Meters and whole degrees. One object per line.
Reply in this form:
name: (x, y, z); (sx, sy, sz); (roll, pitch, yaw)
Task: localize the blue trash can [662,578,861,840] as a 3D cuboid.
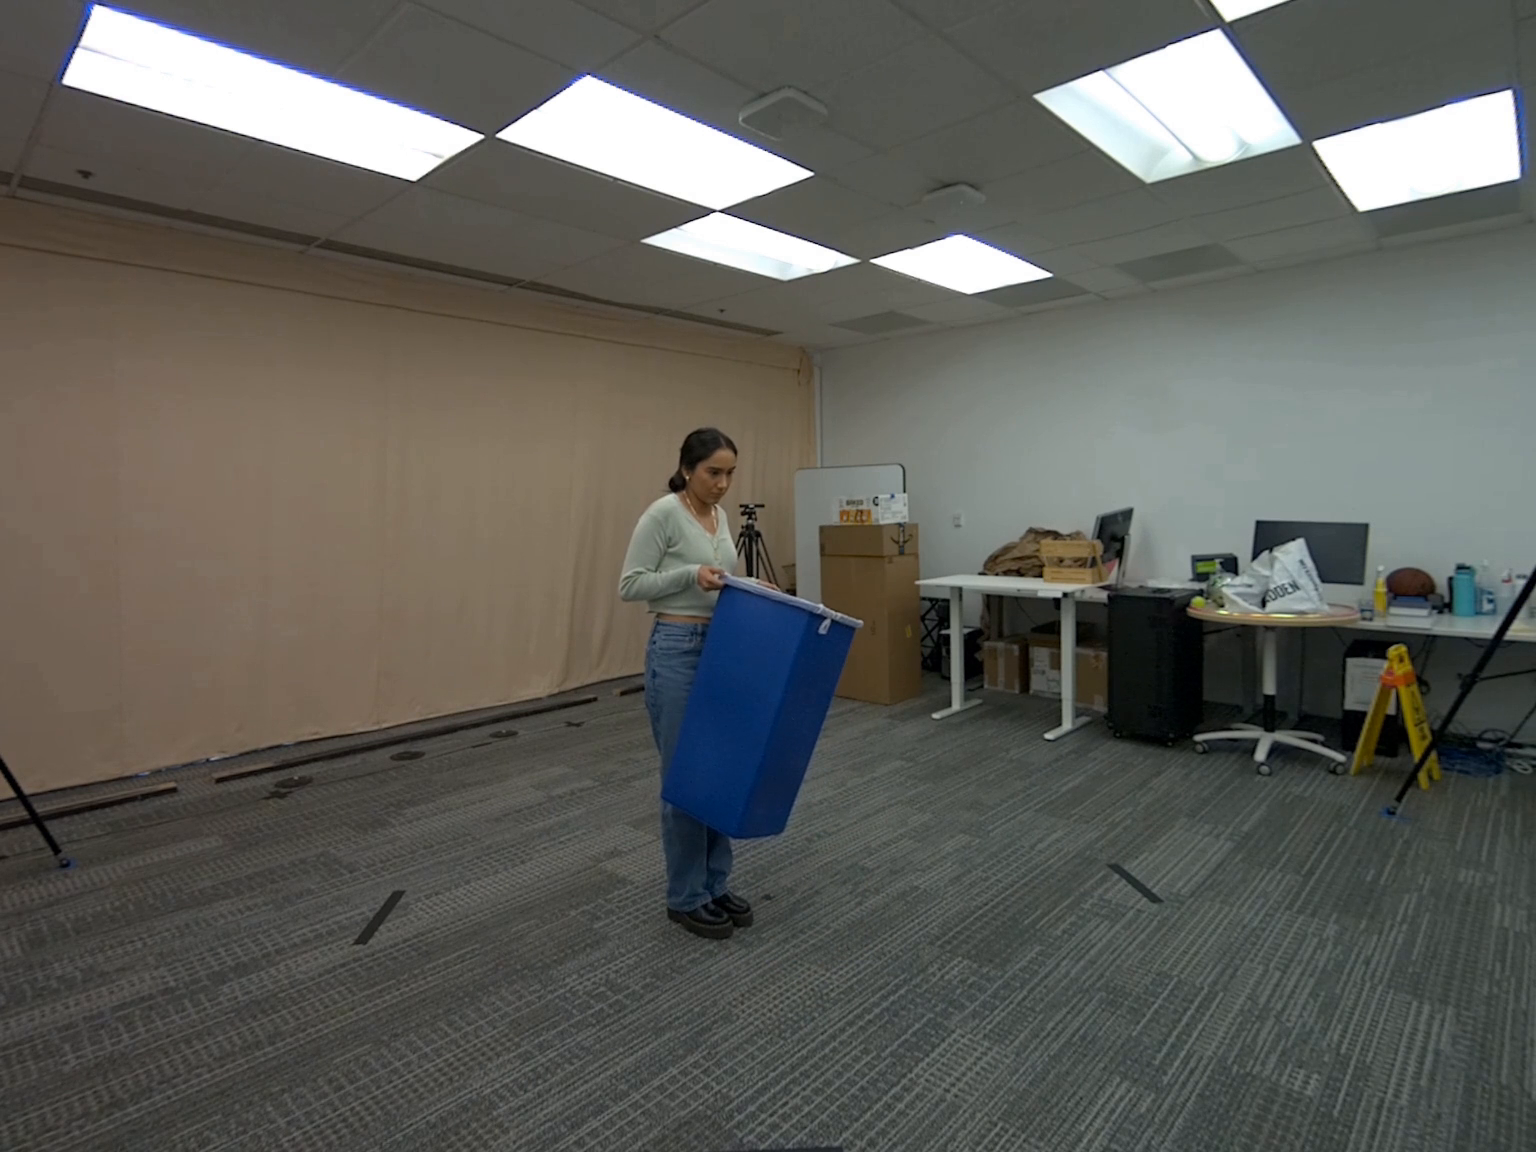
blue trash can: (-0.028, 0.409, 2.635); (0.387, 0.714, 0.365); (16, -3, 34)
